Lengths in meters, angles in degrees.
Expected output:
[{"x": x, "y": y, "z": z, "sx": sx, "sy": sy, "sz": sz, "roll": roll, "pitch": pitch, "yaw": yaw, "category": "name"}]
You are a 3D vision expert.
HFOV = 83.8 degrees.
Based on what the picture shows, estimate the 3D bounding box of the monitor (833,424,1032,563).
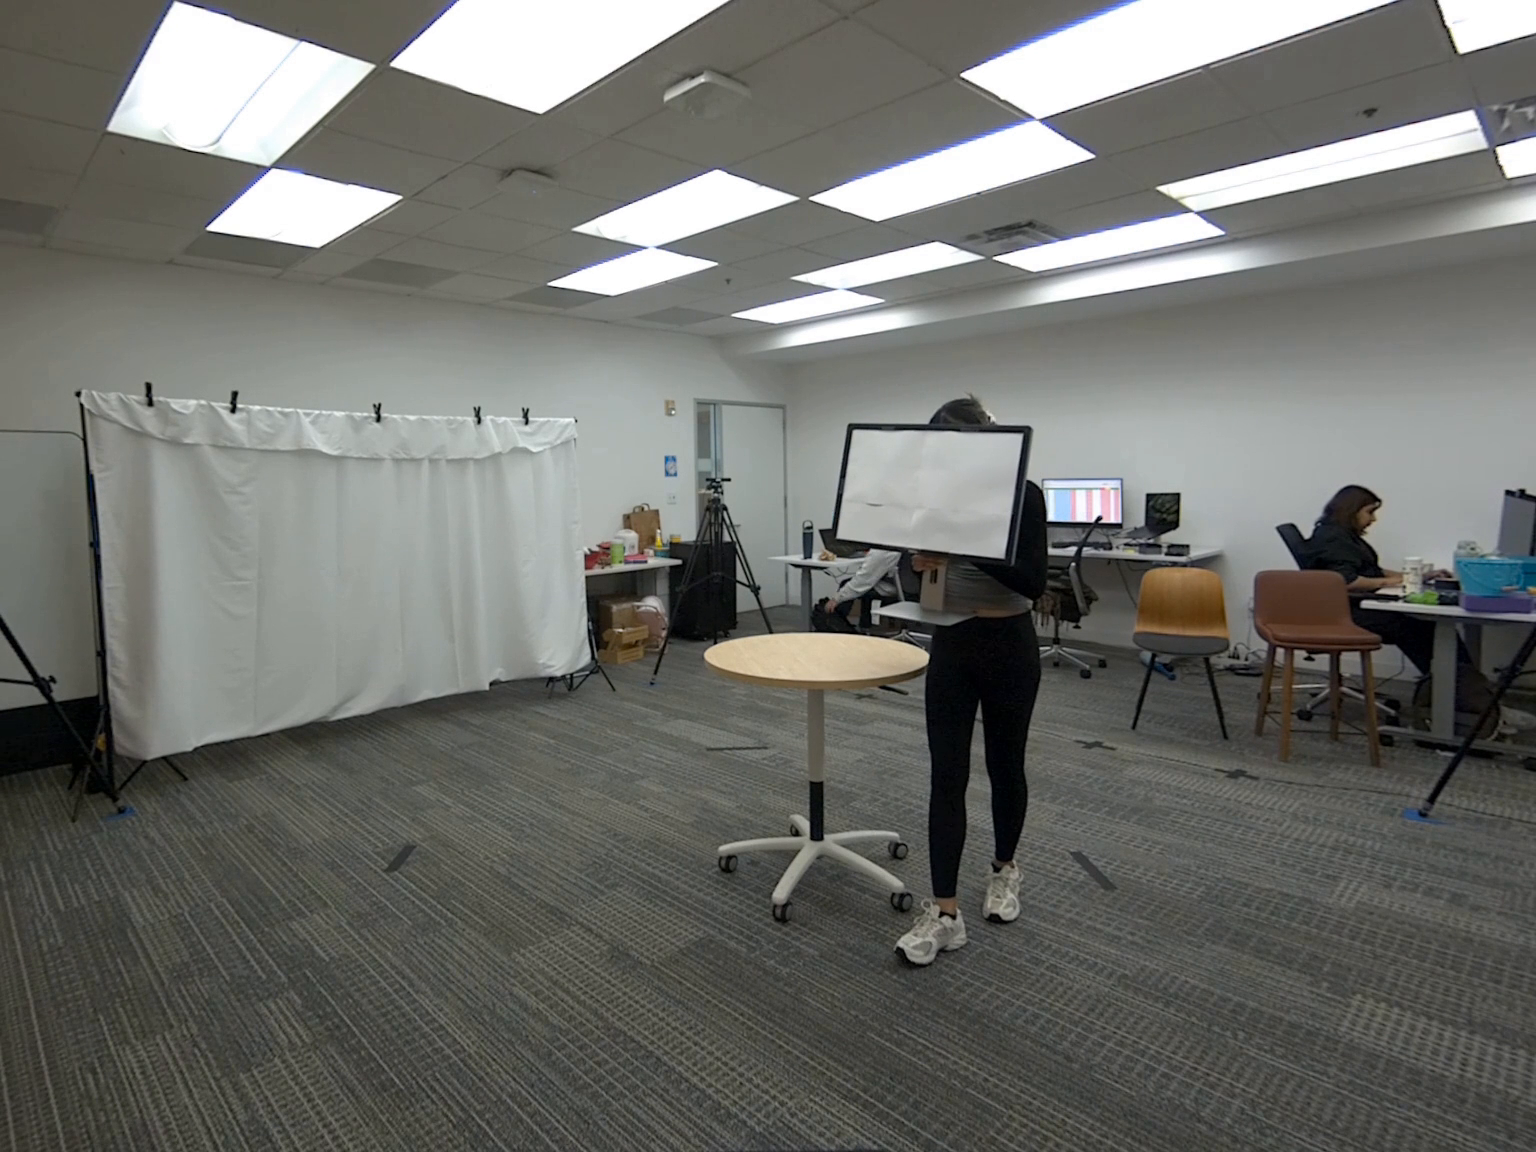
[{"x": 0.458, "y": -0.156, "z": 2.397, "sx": 0.556, "sy": 0.519, "sz": 0.182, "roll": 8, "pitch": 9, "yaw": 39, "category": "monitor"}]
